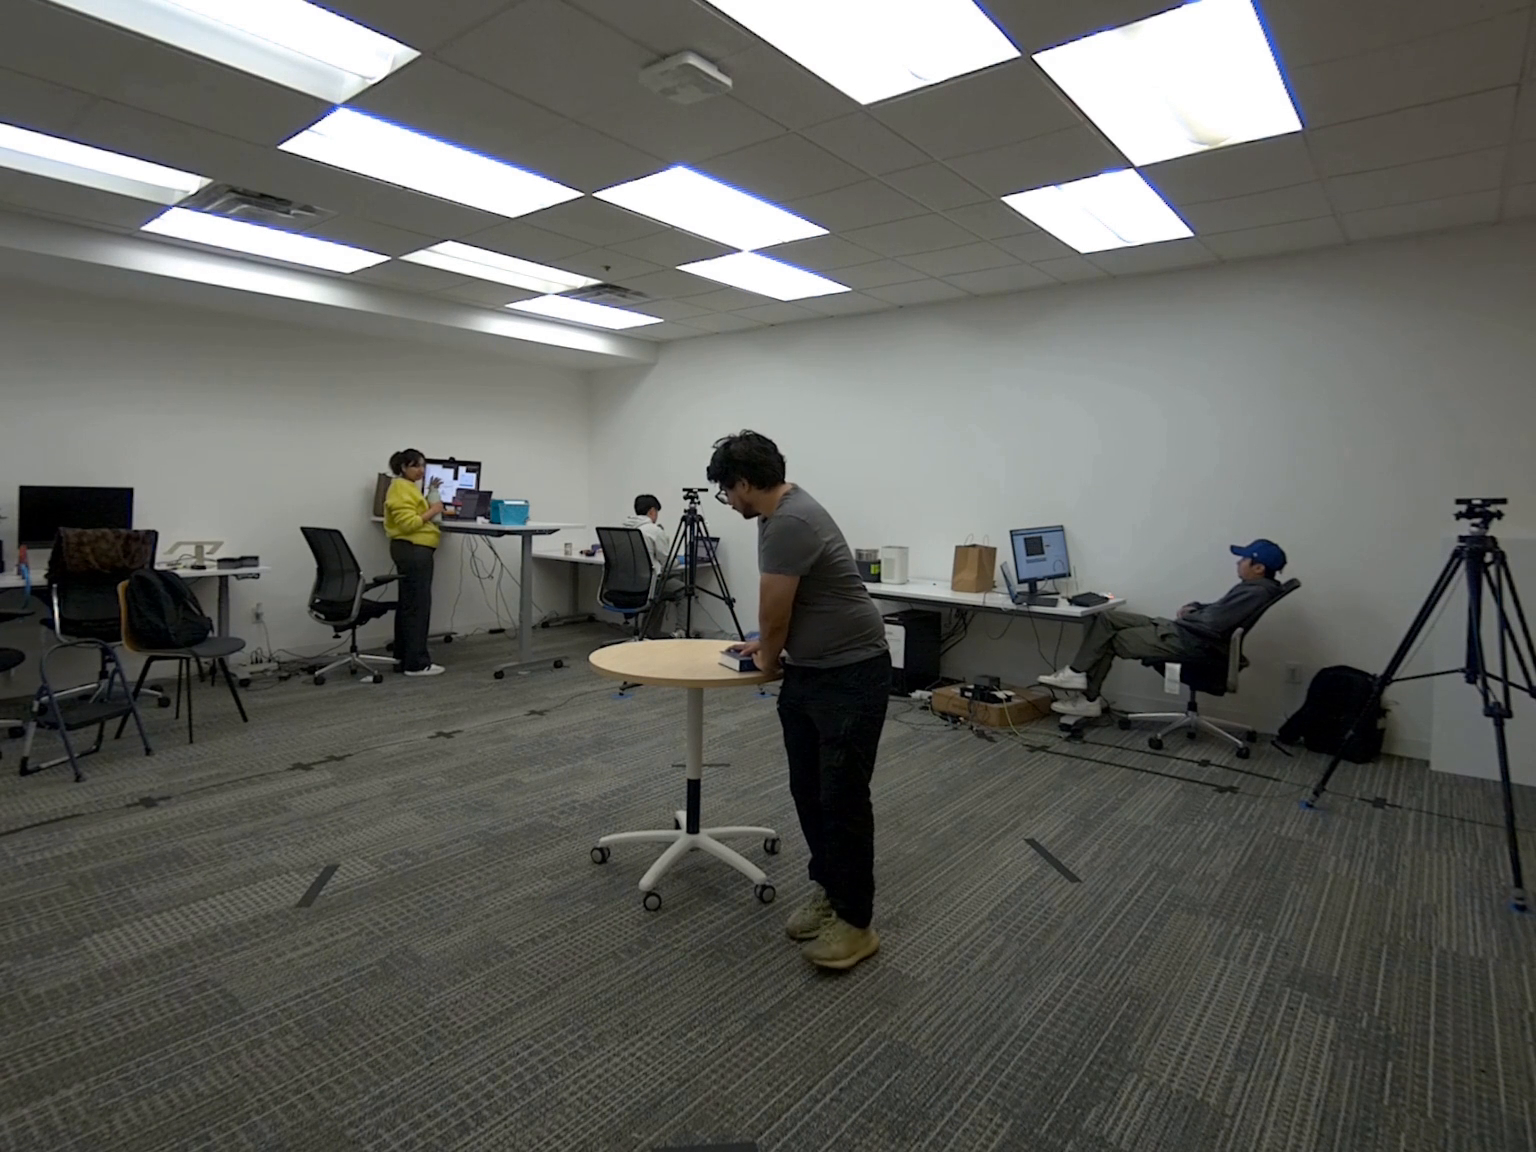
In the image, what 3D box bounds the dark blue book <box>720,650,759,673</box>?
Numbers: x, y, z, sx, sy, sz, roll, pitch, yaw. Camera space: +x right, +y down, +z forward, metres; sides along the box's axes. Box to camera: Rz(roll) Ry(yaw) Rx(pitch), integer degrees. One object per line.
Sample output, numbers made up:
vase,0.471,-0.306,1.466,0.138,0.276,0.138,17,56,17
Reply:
dark blue book,-0.035,0.285,2.928,0.239,0.045,0.168,-4,7,-26
